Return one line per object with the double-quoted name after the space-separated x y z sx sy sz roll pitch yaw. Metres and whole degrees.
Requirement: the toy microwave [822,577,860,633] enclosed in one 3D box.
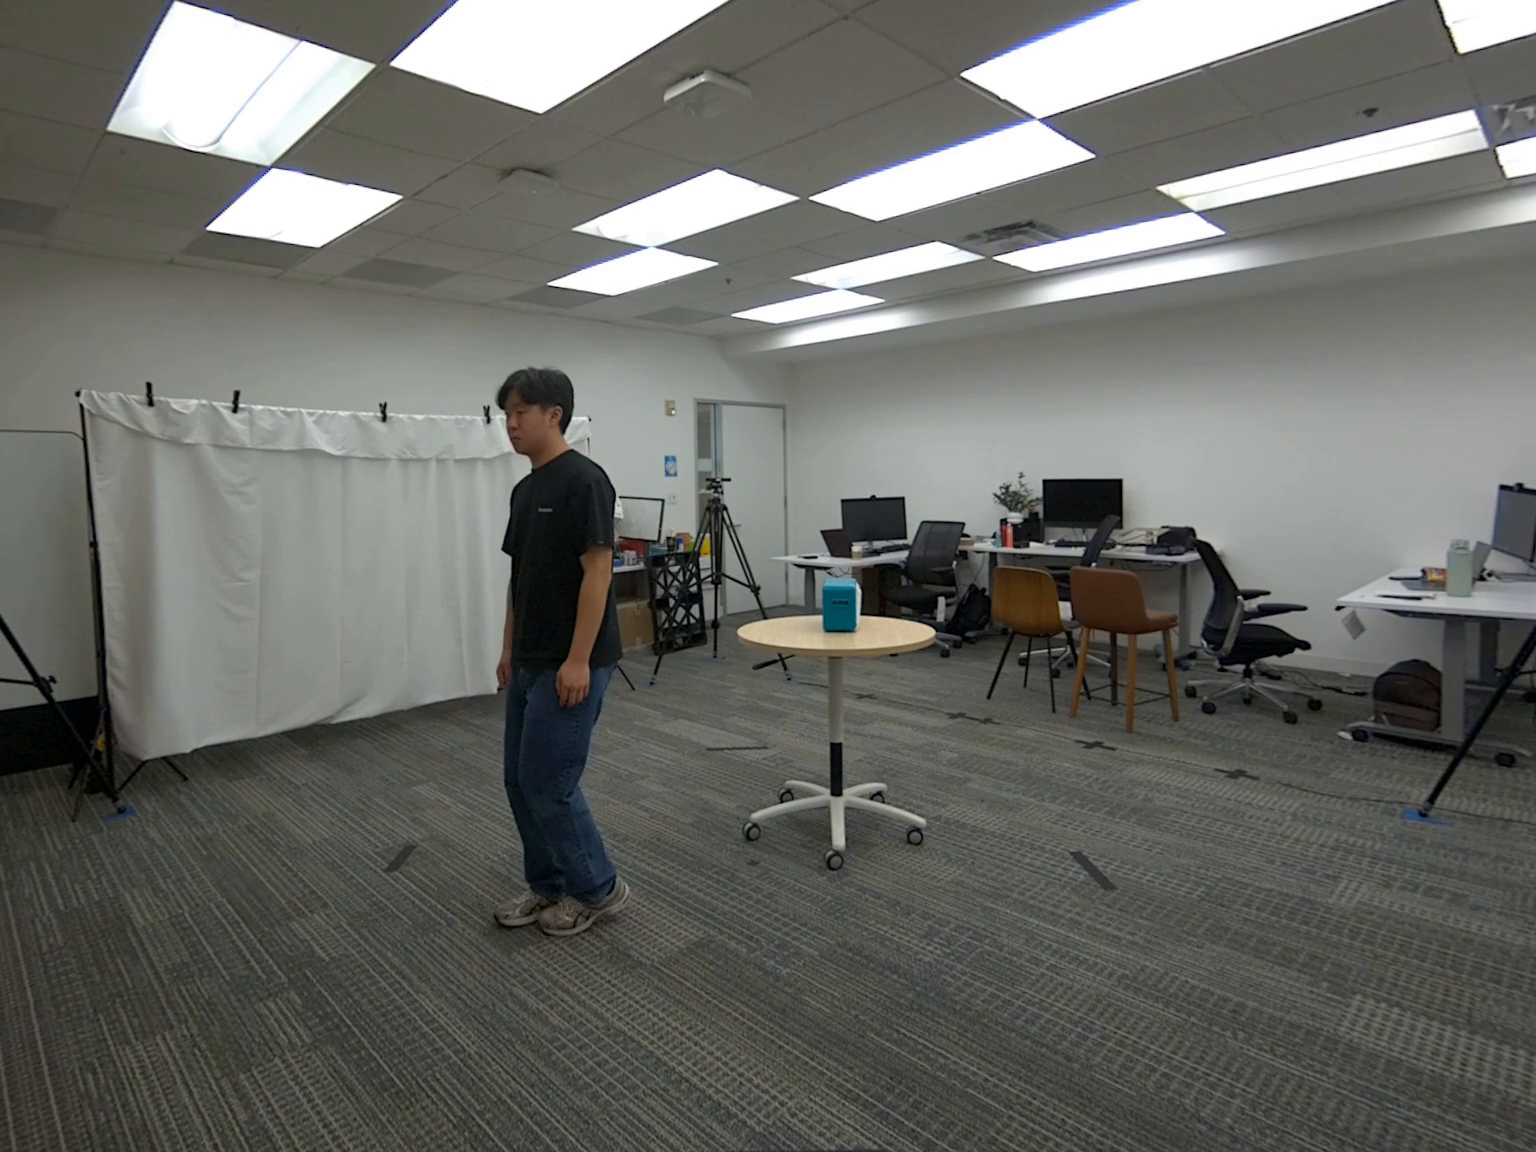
0.301 0.108 3.411 0.153 0.183 0.285 -1 6 7 "toy microwave"
